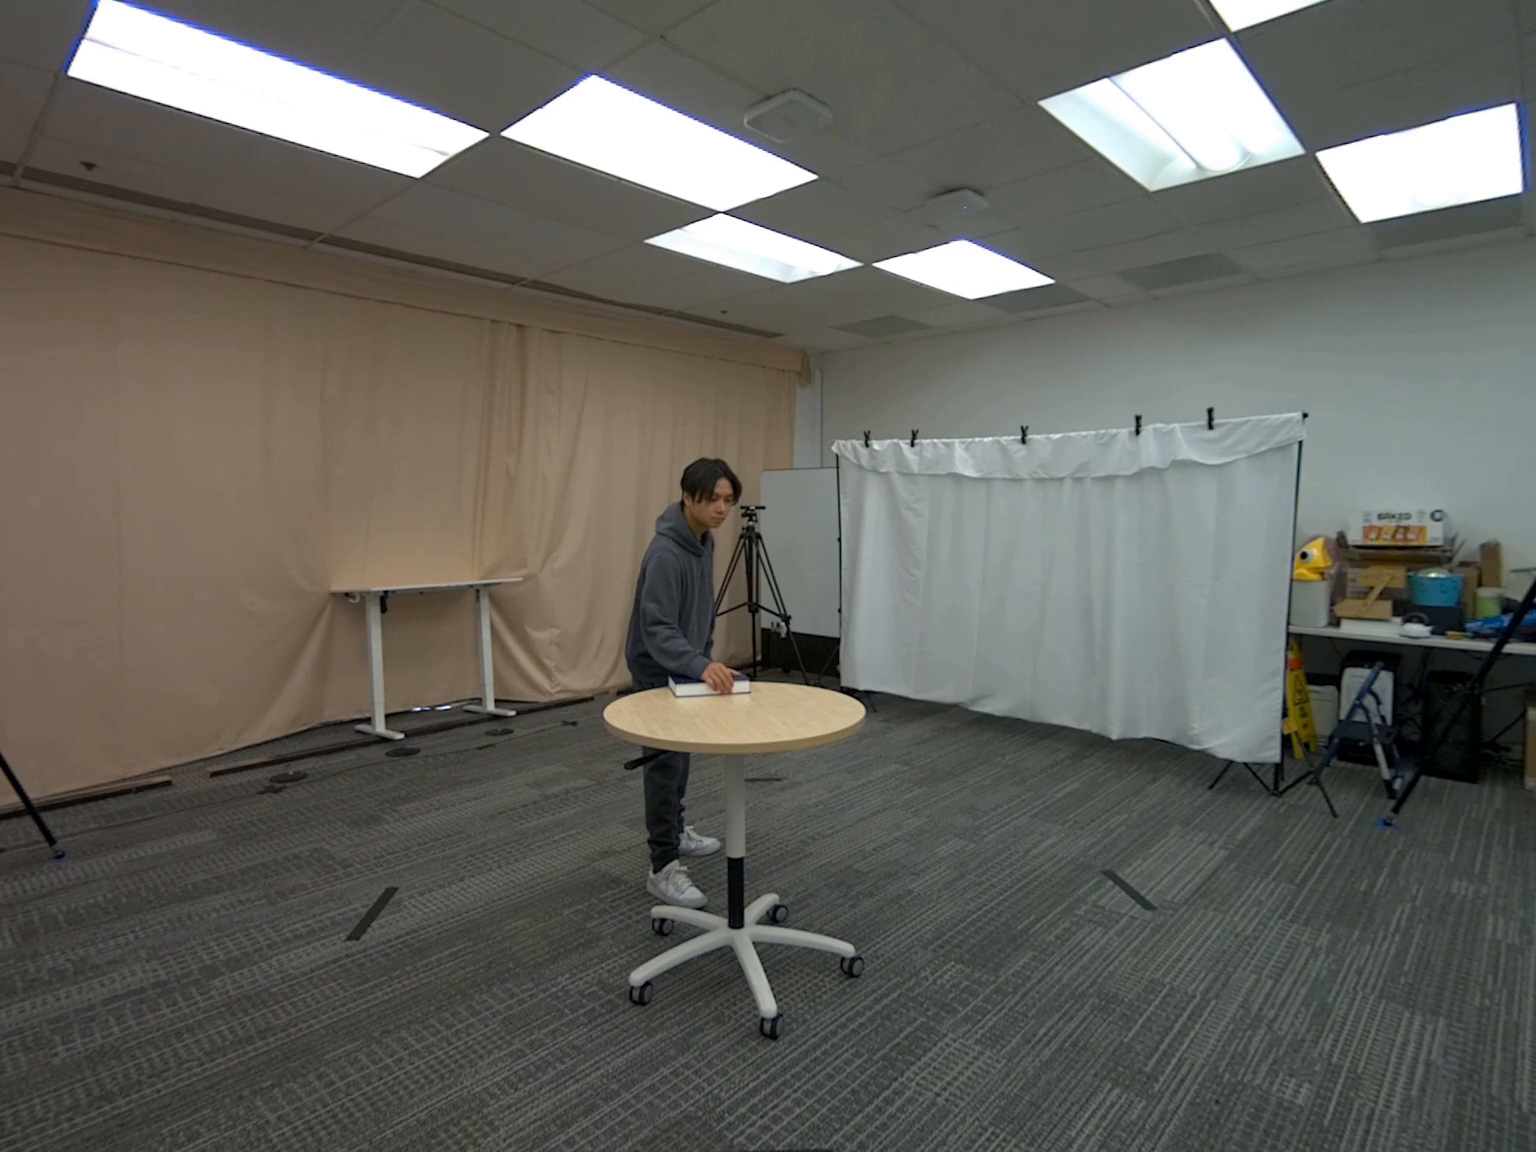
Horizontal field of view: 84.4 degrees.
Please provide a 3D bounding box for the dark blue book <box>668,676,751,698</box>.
[{"bbox_3d":[-0.195,0.352,2.732,0.242,0.045,0.166,-2,5,-13],"label":"dark blue book"}]
